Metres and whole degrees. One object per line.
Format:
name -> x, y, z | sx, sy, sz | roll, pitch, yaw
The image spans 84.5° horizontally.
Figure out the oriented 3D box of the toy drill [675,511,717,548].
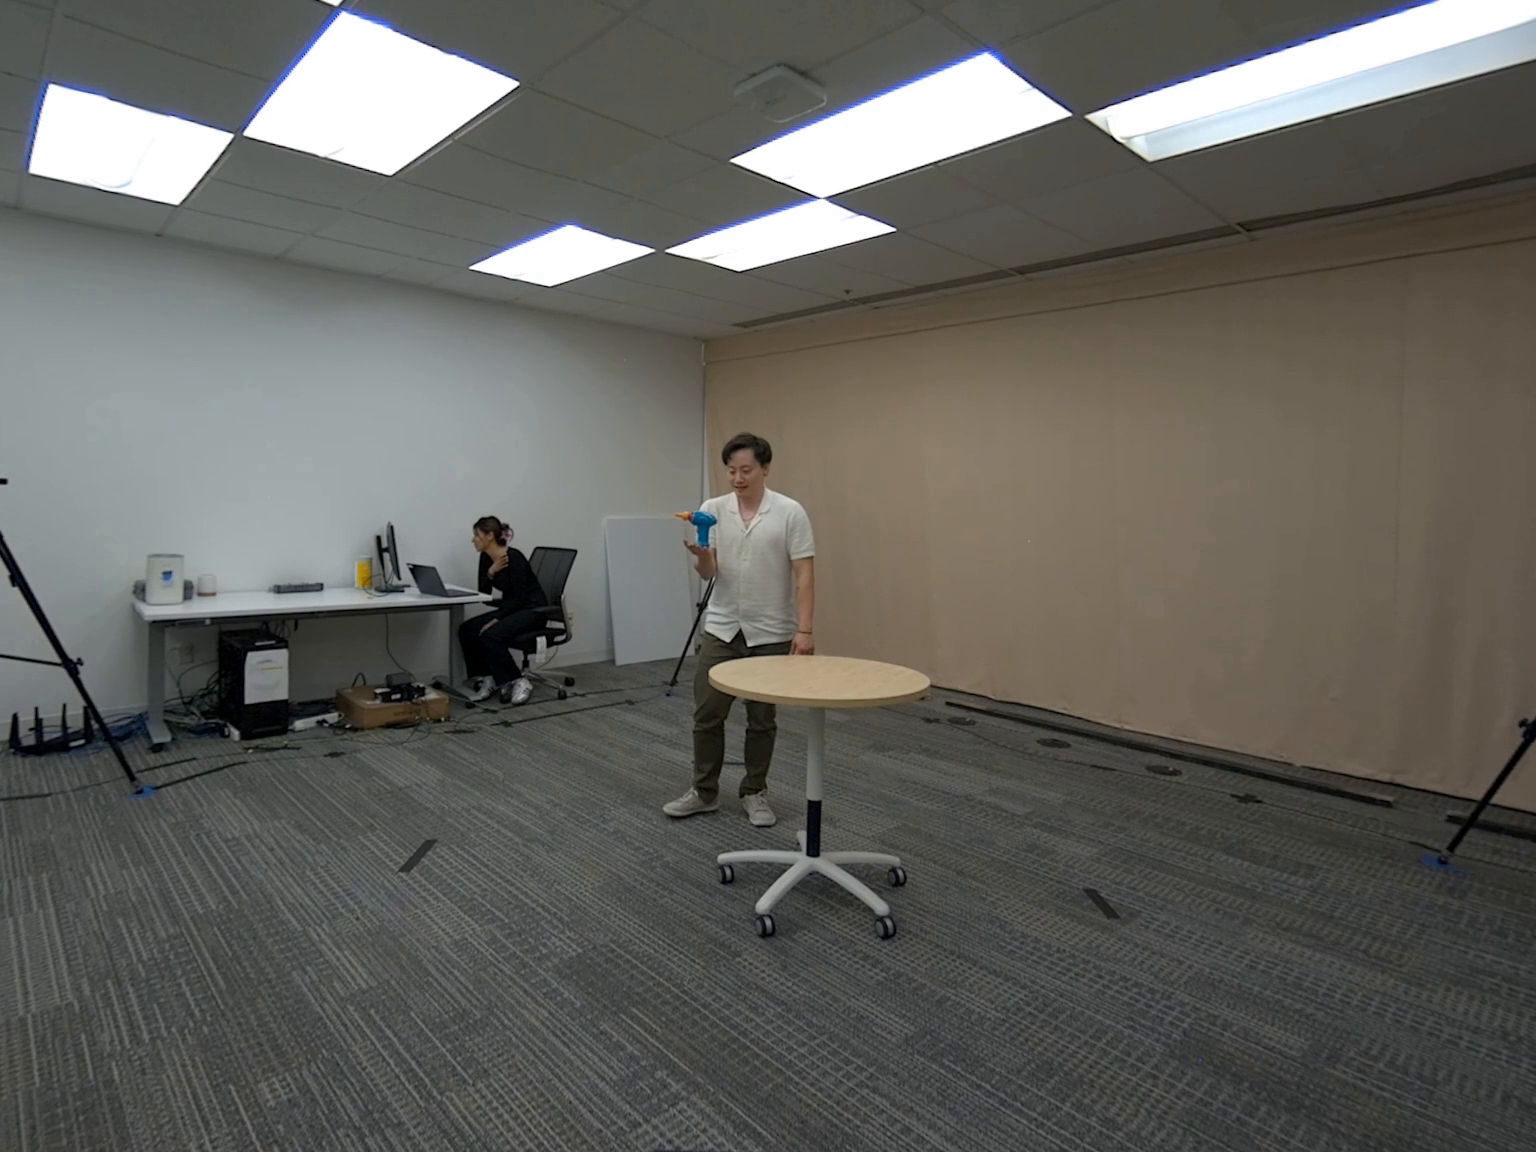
toy drill -> -0.299, -0.192, 3.313 | 0.170, 0.145, 0.061 | 11, 10, 1
